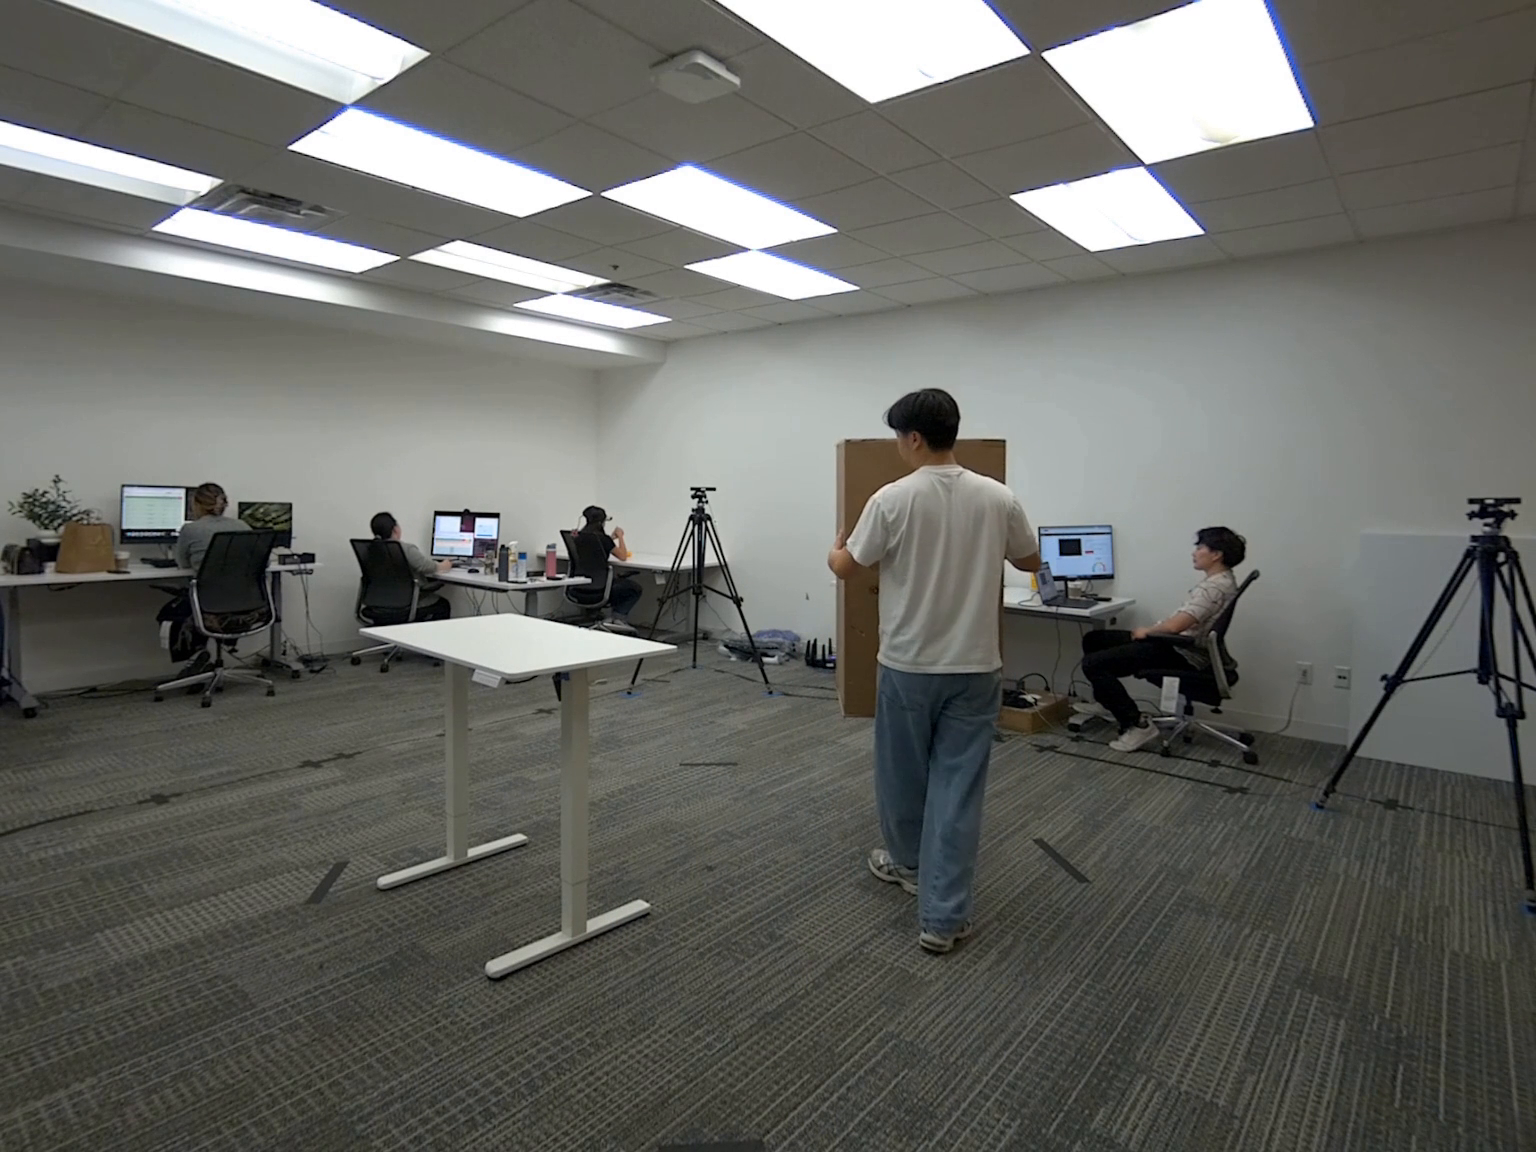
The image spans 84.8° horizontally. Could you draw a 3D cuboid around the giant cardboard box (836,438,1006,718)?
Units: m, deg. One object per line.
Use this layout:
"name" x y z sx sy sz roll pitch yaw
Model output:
"giant cardboard box" 0.560 -0.018 3.287 0.580 1.021 0.427 0 5 3
